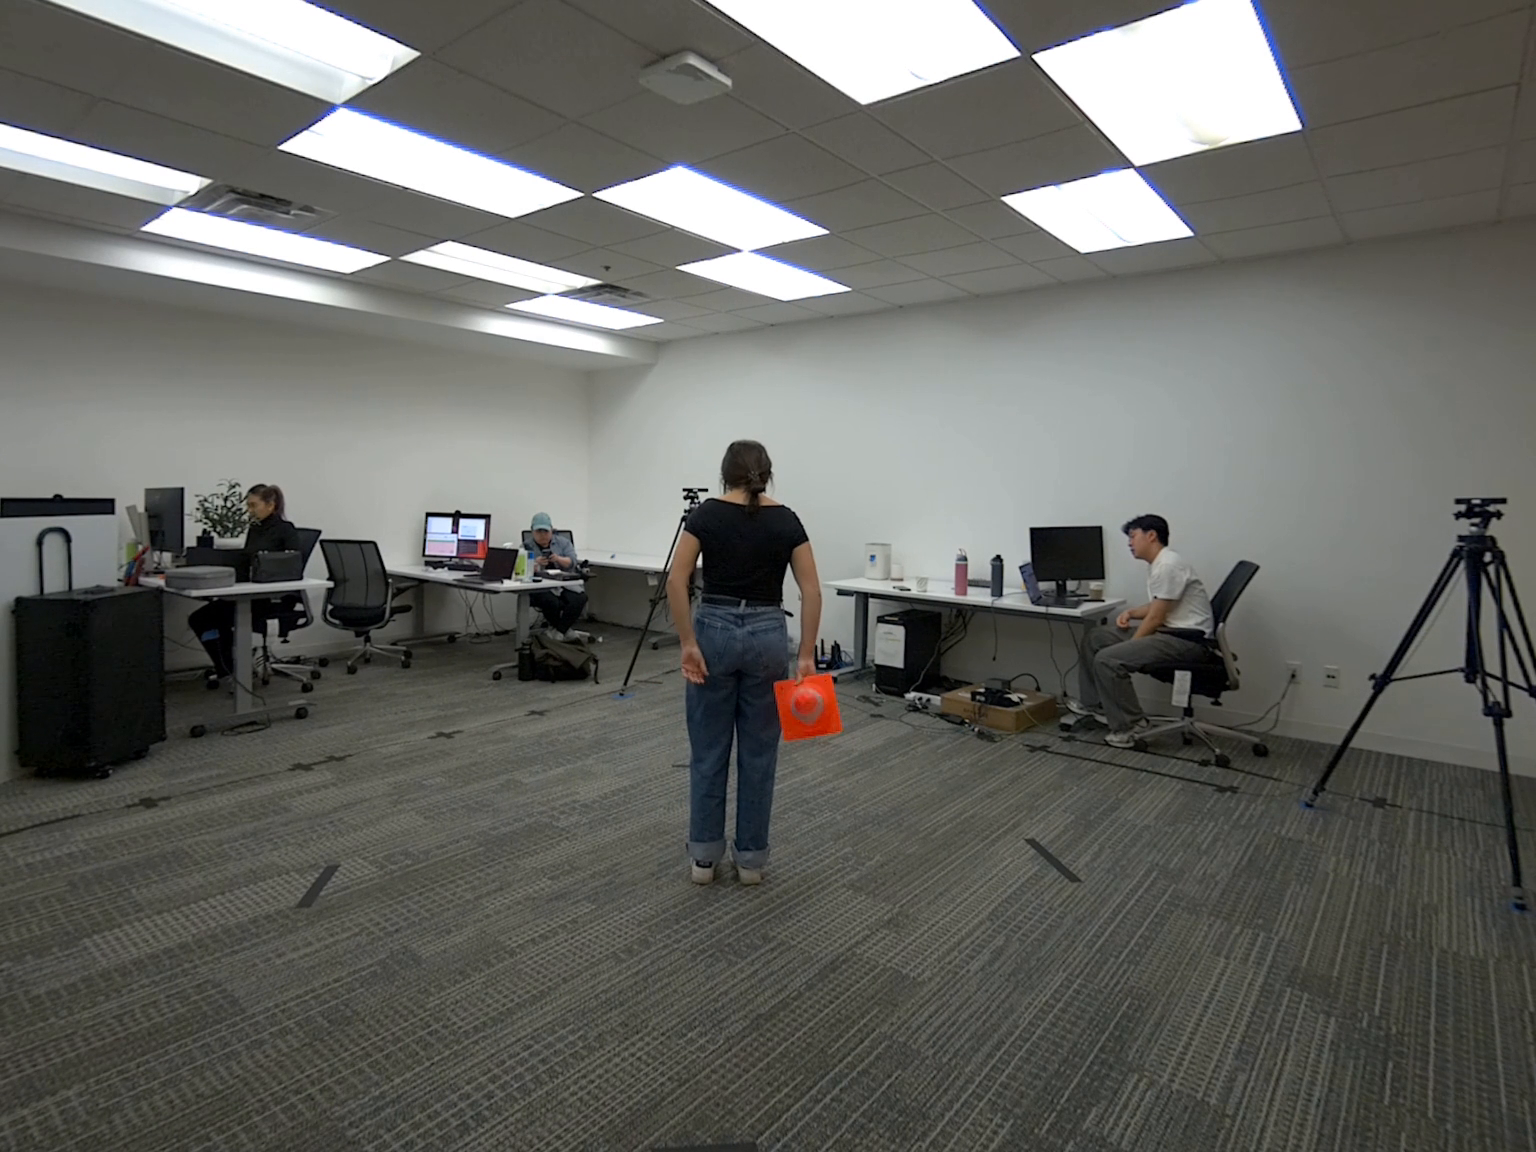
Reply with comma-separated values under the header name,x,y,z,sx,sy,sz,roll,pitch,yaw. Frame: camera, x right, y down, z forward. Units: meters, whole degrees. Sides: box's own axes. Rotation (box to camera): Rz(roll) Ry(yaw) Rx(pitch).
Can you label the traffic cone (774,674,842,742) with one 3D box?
name,x,y,z,sx,sy,sz,roll,pitch,yaw
traffic cone,0.119,0.382,2.700,0.203,0.208,0.378,-15,-11,-1
